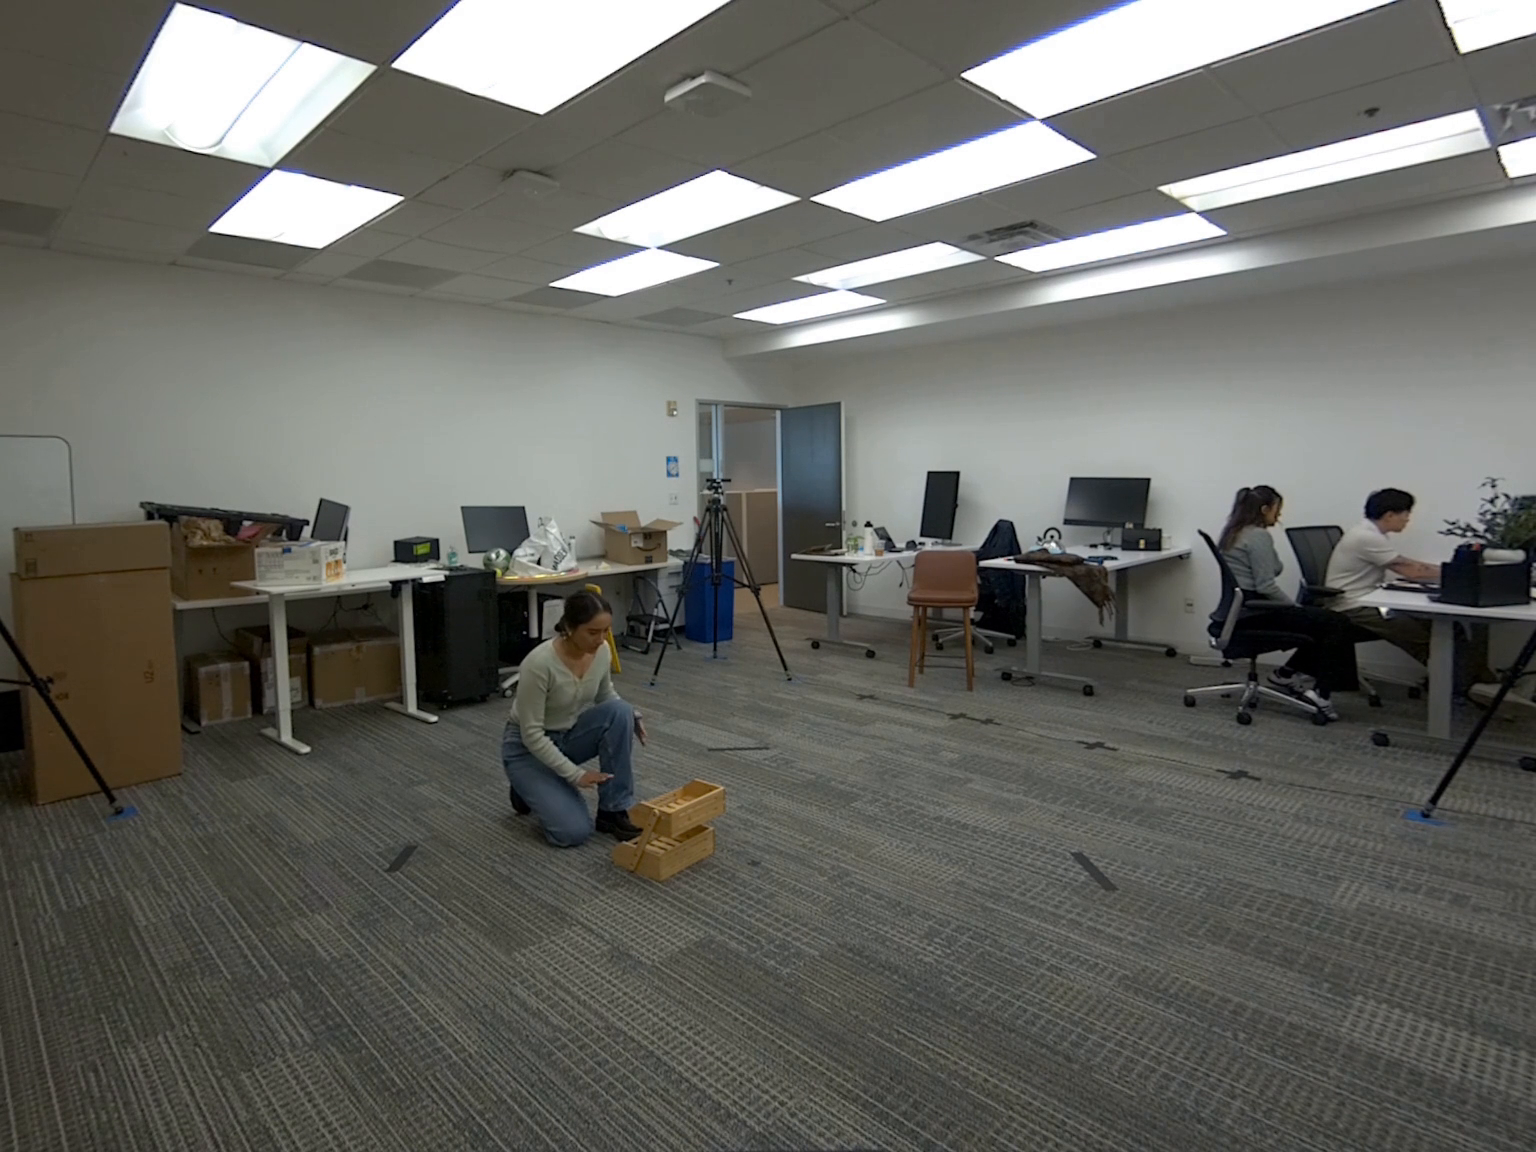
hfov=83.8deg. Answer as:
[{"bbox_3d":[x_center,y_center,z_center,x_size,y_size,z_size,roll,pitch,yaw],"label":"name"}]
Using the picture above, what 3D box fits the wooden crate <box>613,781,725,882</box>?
[{"bbox_3d":[-0.365,0.912,3.138,0.311,0.272,0.316,4,7,37],"label":"wooden crate"}]
